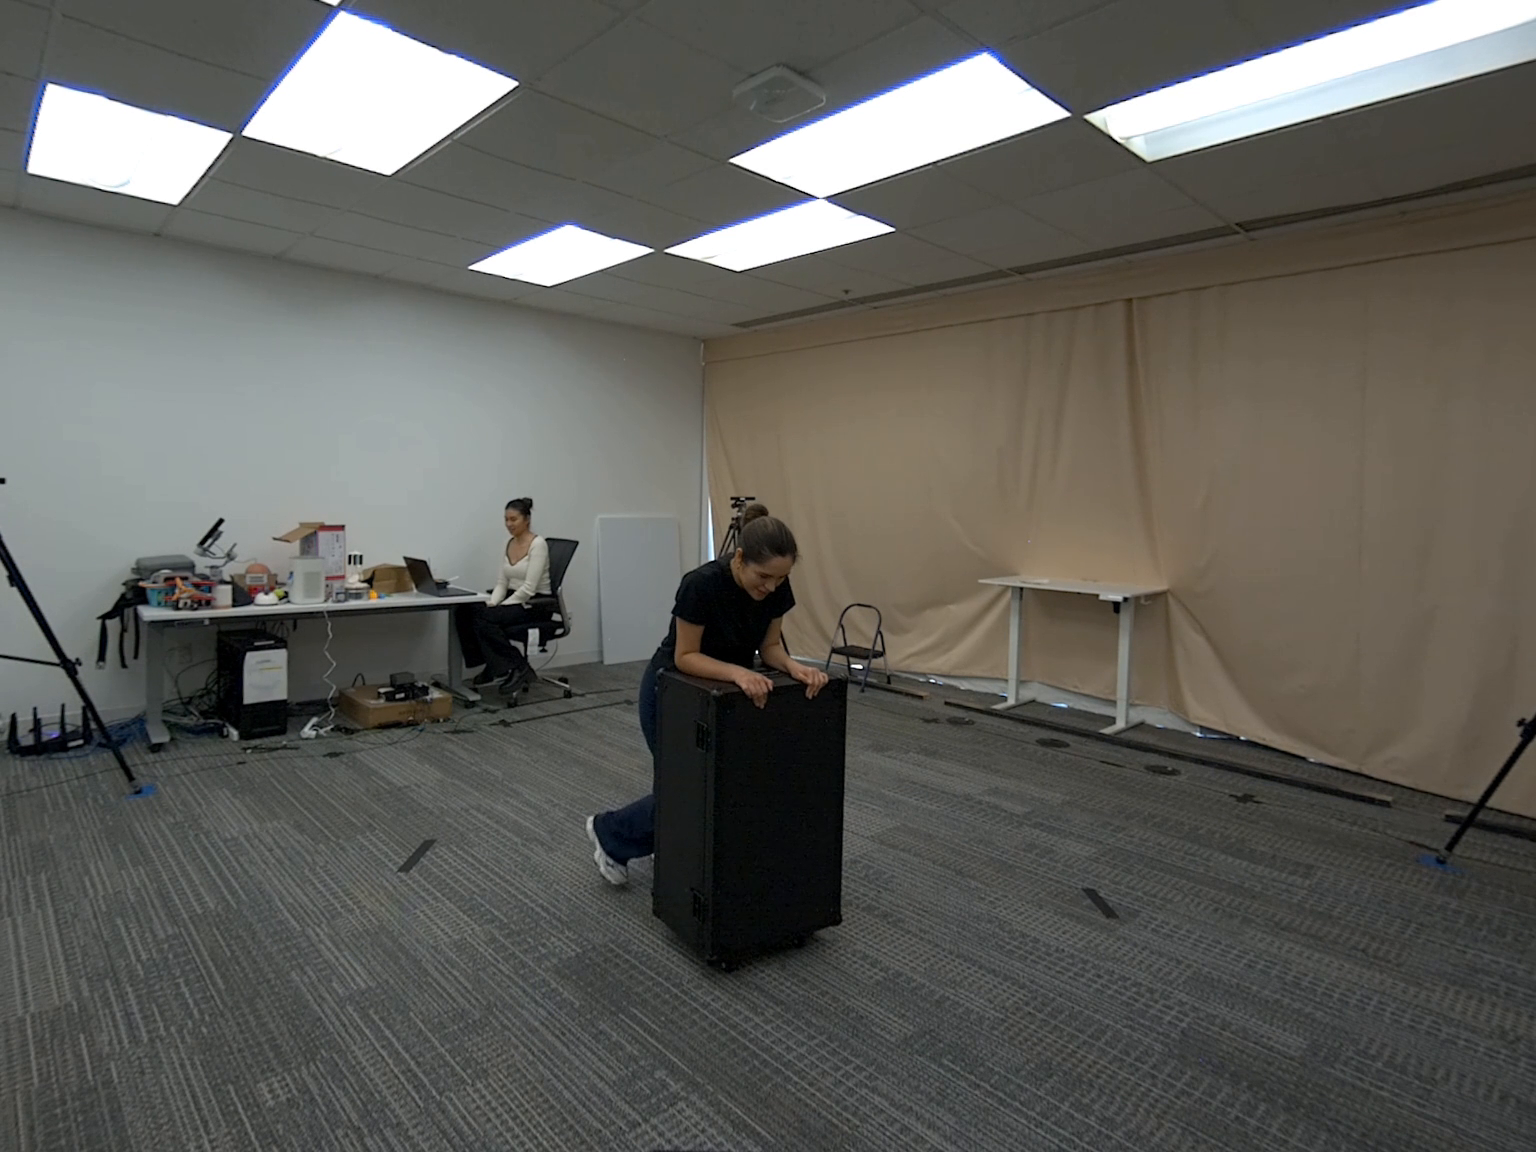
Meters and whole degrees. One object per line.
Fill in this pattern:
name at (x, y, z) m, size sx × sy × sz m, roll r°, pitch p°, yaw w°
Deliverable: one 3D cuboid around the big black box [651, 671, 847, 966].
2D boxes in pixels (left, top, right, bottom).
big black box at (-0.059, 0.672, 2.619) m, size 0.510 × 0.859 × 0.406 m, roll -1°, pitch 4°, yaw -34°
